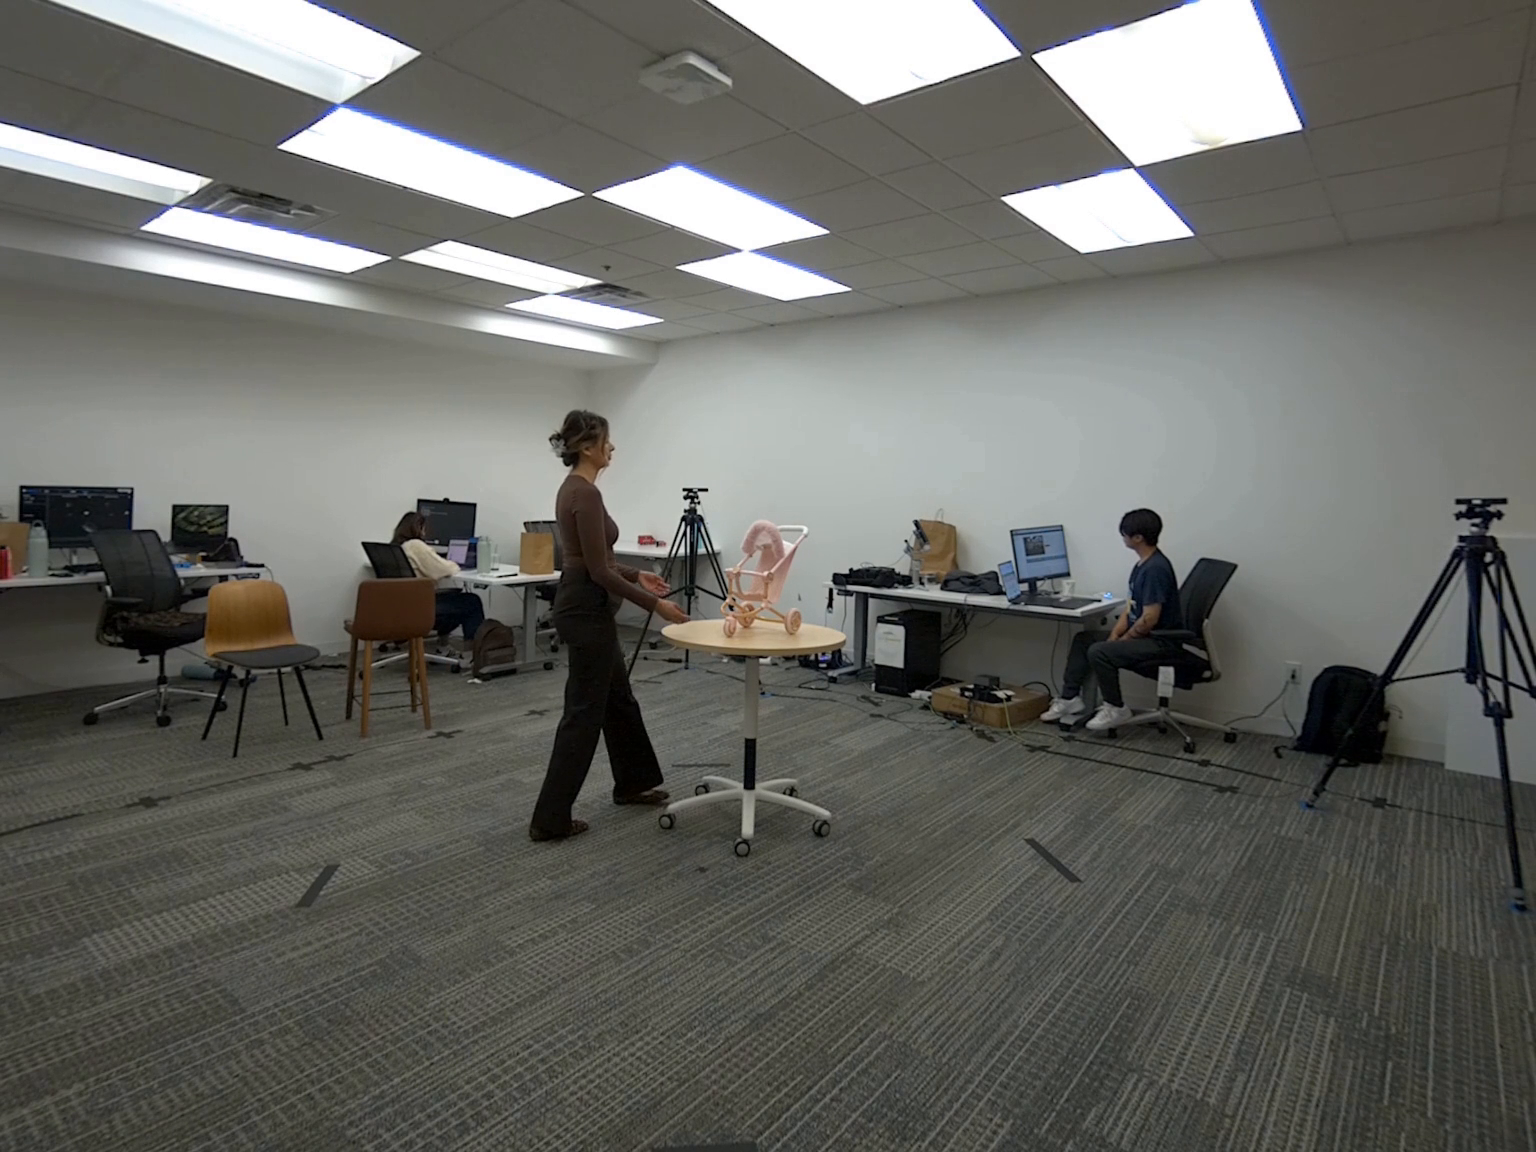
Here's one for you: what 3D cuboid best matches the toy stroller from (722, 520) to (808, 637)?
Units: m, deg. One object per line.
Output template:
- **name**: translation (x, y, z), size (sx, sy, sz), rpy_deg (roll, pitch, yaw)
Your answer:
- **toy stroller**: translation (-0.042, 0.009, 3.553), size (0.291, 0.538, 0.328), rpy_deg (4, -10, 44)
